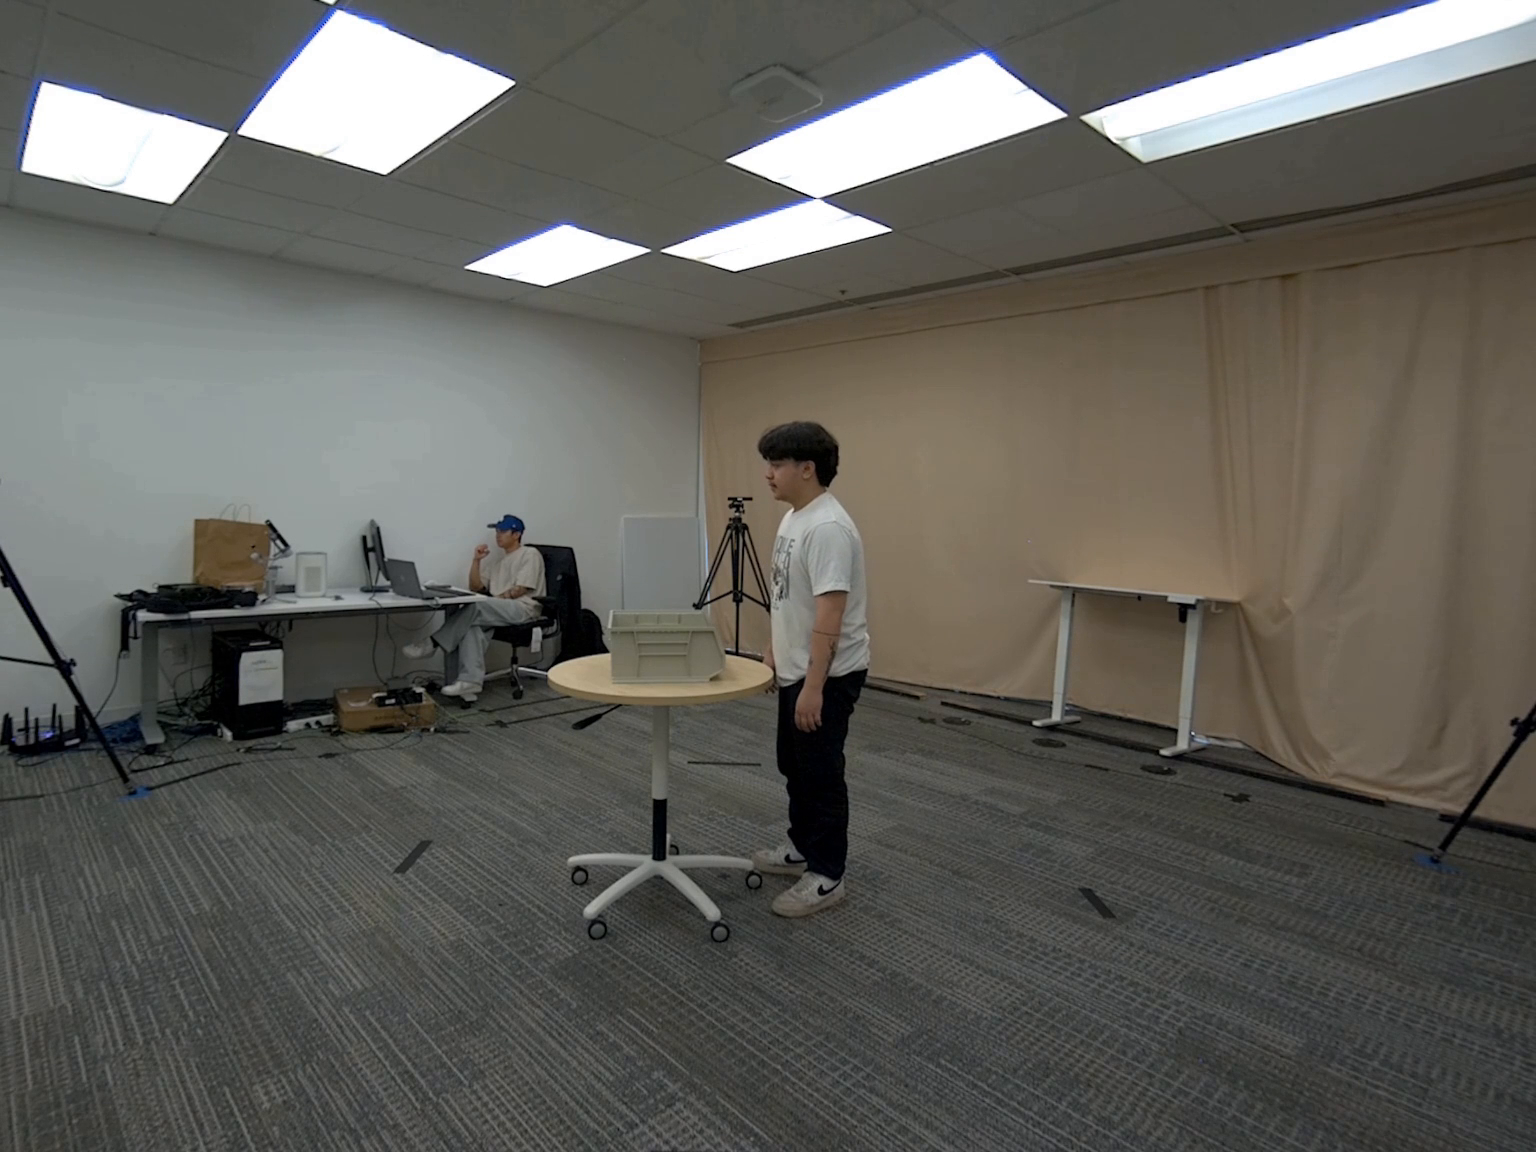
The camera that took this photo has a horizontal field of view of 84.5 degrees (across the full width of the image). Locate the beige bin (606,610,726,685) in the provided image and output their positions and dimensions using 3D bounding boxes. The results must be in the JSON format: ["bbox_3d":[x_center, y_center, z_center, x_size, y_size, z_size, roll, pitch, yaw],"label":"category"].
[{"bbox_3d":[-0.356,0.235,2.891,0.375,0.188,0.426,-1,6,-9],"label":"beige bin"}]
